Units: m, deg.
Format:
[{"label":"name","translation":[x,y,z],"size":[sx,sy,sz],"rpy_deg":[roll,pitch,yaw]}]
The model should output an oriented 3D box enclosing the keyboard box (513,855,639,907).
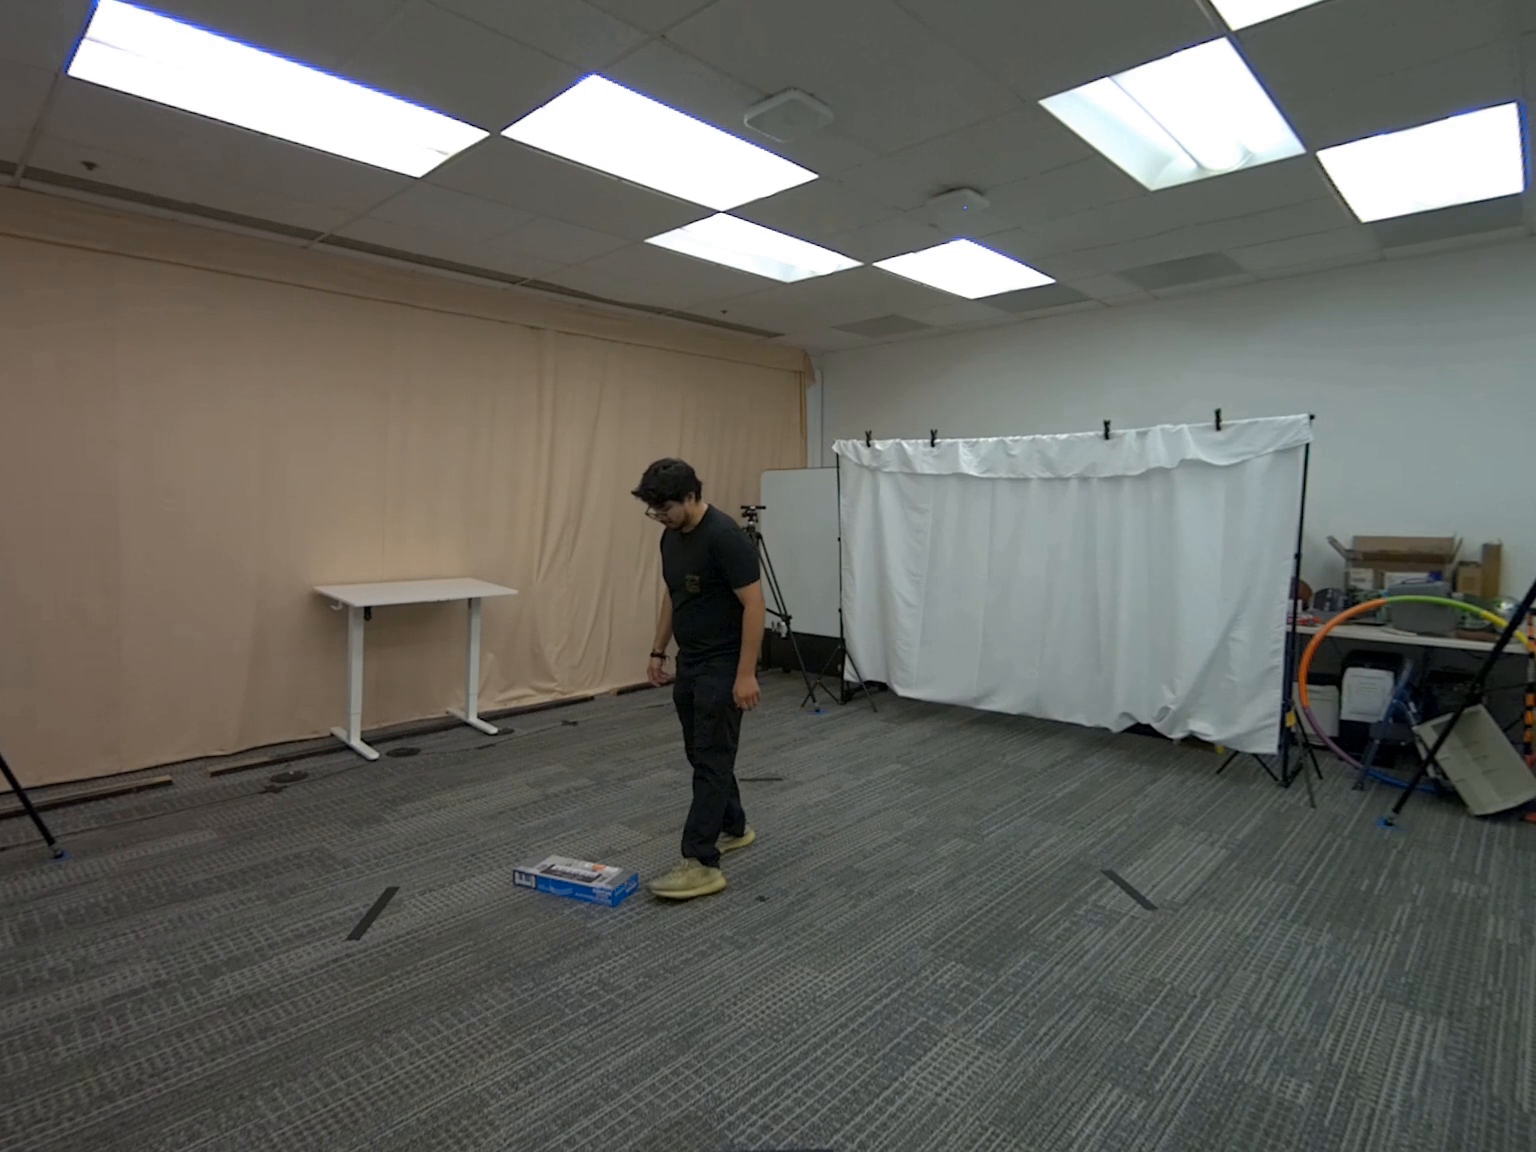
[{"label":"keyboard box","translation":[-0.705,1.113,3.094],"size":[0.448,0.059,0.172],"rpy_deg":[1,4,25]}]
